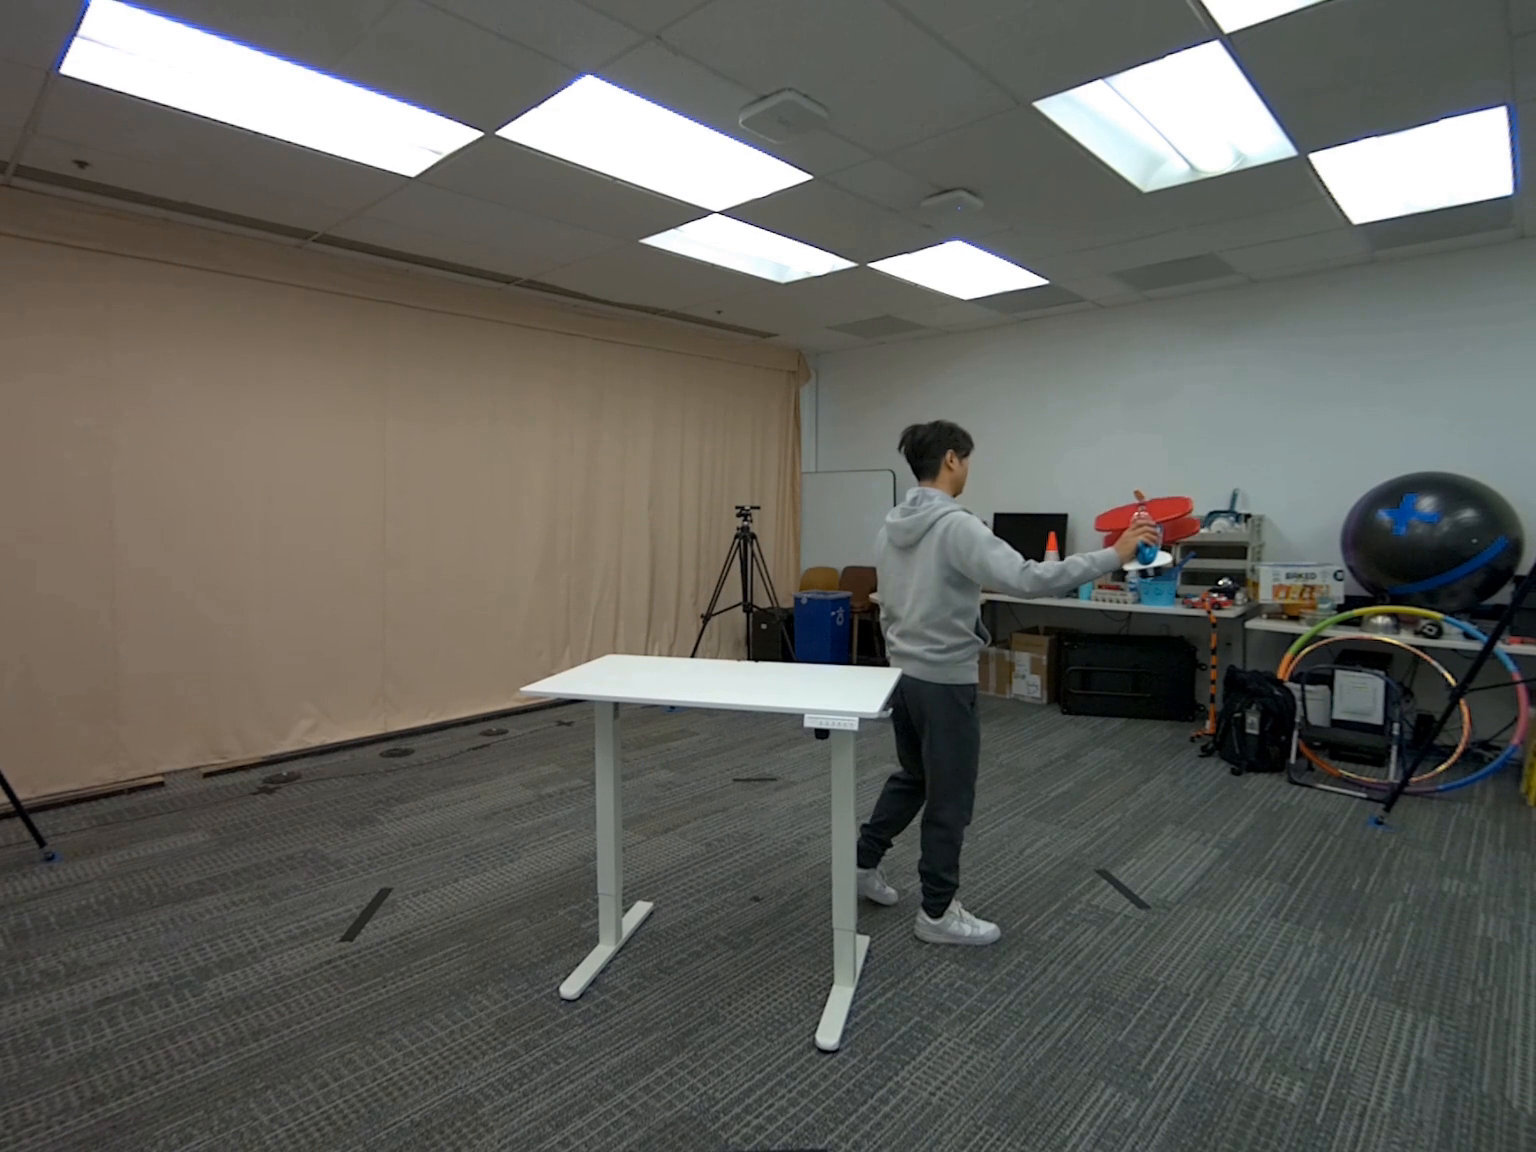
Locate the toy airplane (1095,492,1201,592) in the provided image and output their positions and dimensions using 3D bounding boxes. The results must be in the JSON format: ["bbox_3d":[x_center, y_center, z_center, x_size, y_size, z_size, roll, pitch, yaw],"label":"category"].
[{"bbox_3d":[1.084,-0.106,2.359,0.254,0.154,0.261,-23,19,15],"label":"toy airplane"}]
